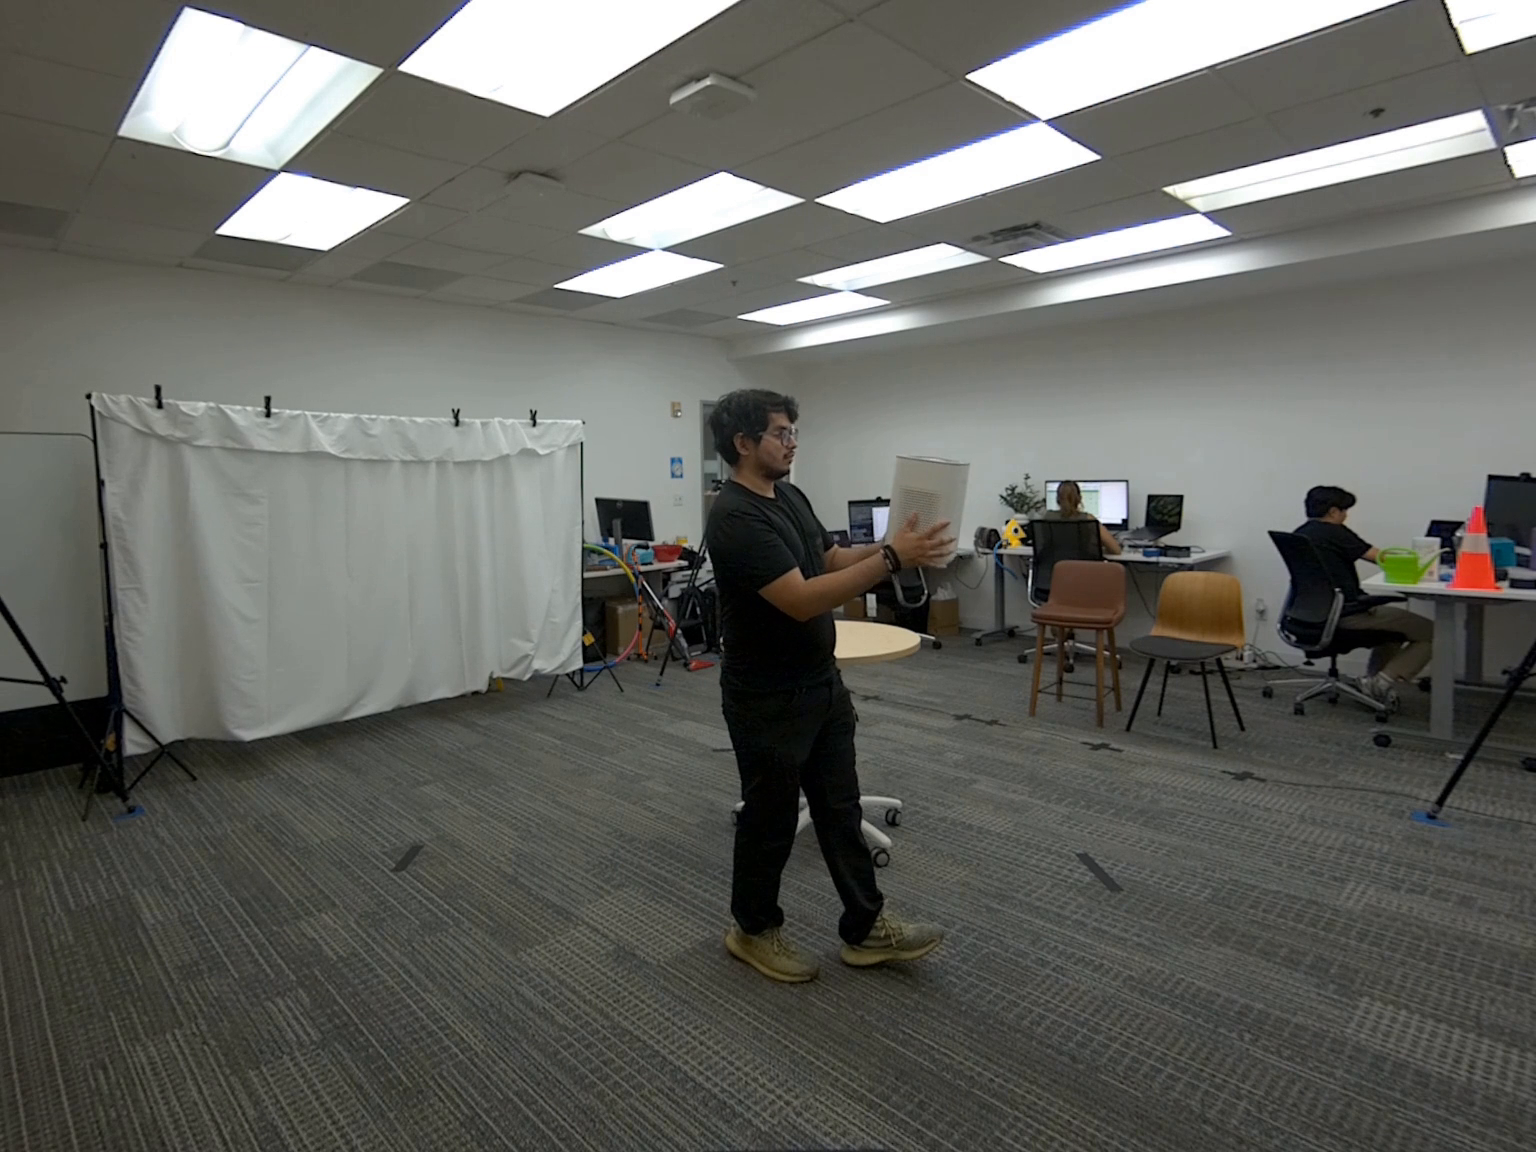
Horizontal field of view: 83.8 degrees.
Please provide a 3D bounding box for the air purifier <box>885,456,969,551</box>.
[{"bbox_3d":[0.410,-0.168,2.176,0.176,0.263,0.168,11,11,24],"label":"air purifier"}]
